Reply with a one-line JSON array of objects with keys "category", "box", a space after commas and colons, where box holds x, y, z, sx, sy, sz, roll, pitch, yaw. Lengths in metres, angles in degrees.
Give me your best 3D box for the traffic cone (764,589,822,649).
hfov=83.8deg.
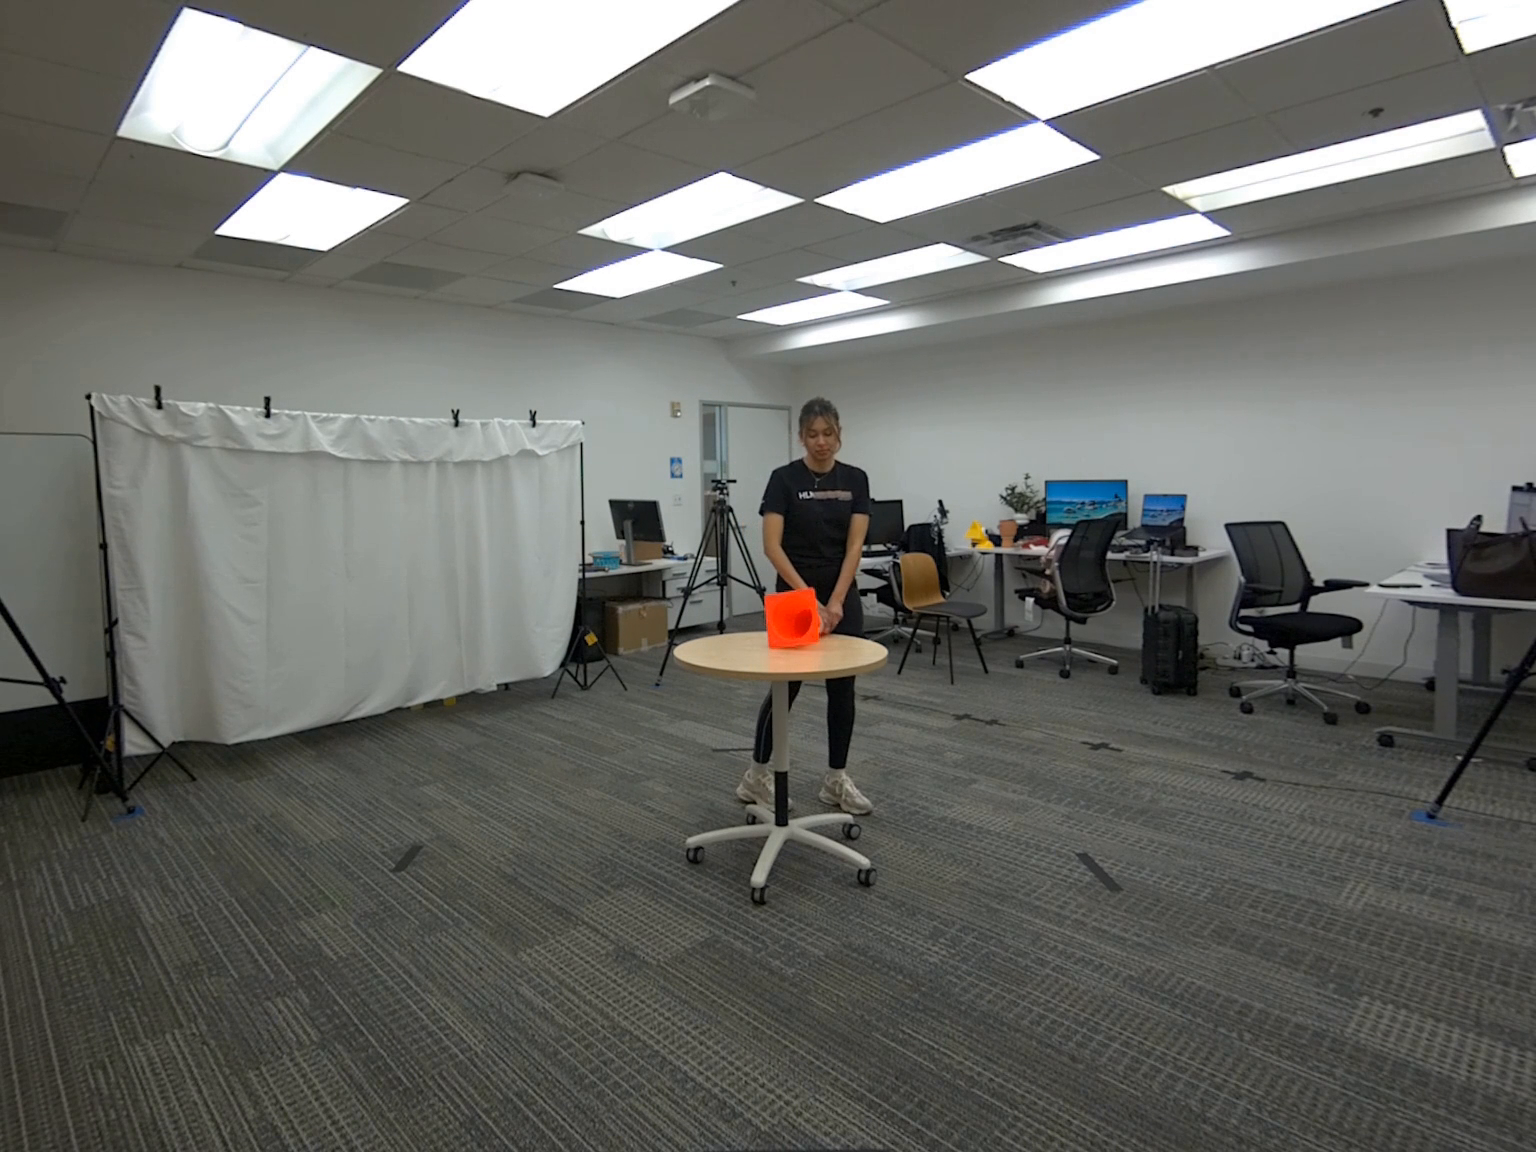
[{"category": "traffic cone", "box": [0.170, 0.188, 3.251, 0.207, 0.208, 0.372, -8, -14, 24]}]
